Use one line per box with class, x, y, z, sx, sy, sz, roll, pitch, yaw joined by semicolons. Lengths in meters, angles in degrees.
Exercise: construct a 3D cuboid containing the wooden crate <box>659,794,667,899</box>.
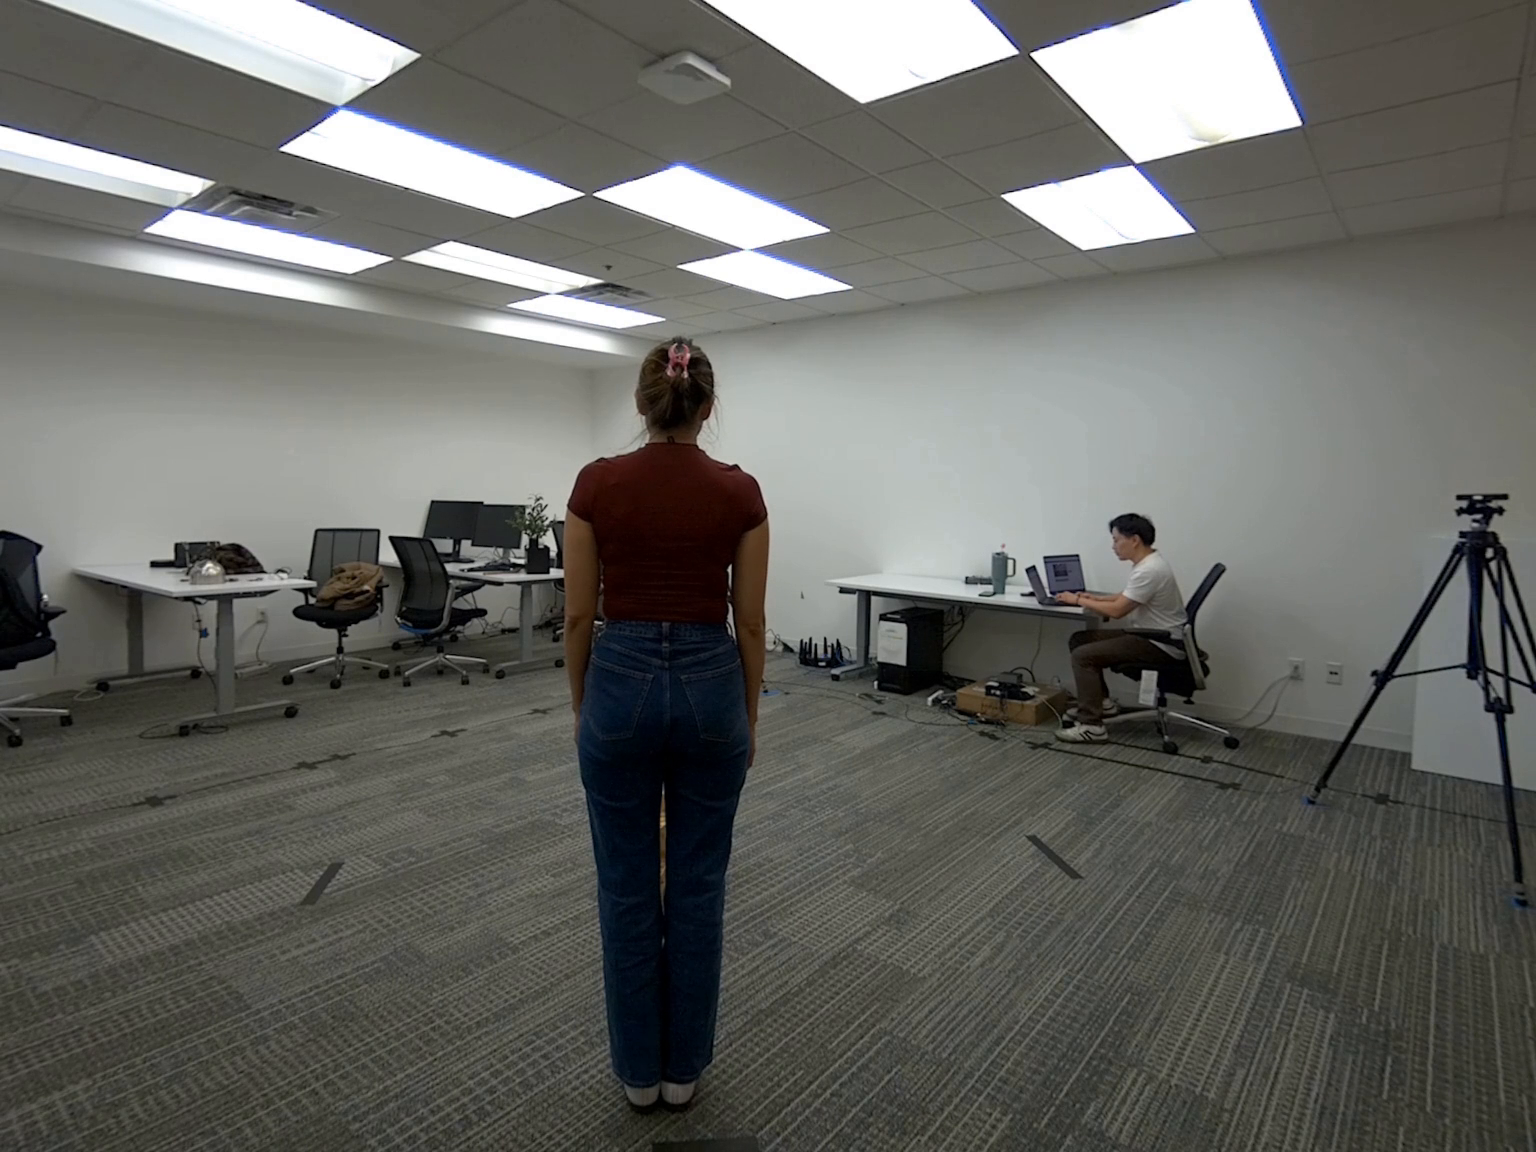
wooden crate;-0.408;0.935;2.987;0.296;0.272;0.332;-1;4;-19
